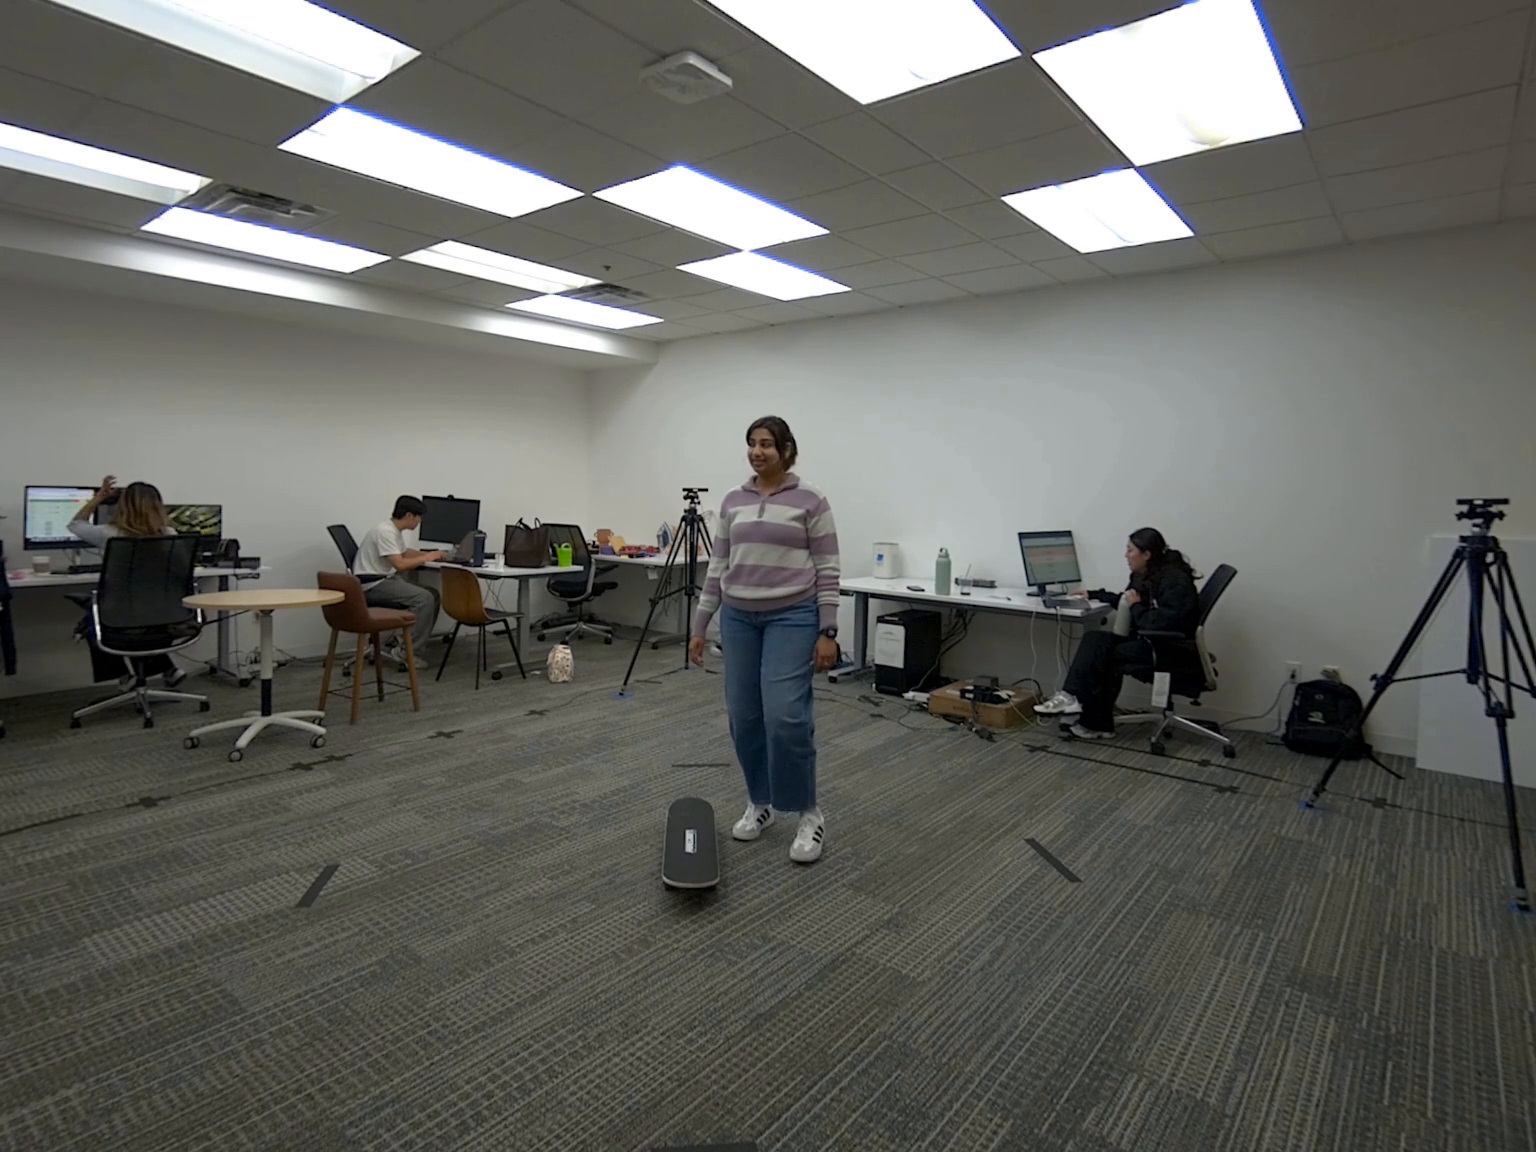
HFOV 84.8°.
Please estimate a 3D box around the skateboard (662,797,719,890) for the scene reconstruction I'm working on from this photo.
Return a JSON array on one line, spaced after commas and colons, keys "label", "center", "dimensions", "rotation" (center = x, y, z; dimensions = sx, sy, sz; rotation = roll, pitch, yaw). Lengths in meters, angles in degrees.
[{"label": "skateboard", "center": [-0.294, 1.005, 3.146], "dimensions": [0.192, 0.110, 0.791], "rotation": [1, 5, -5]}]
